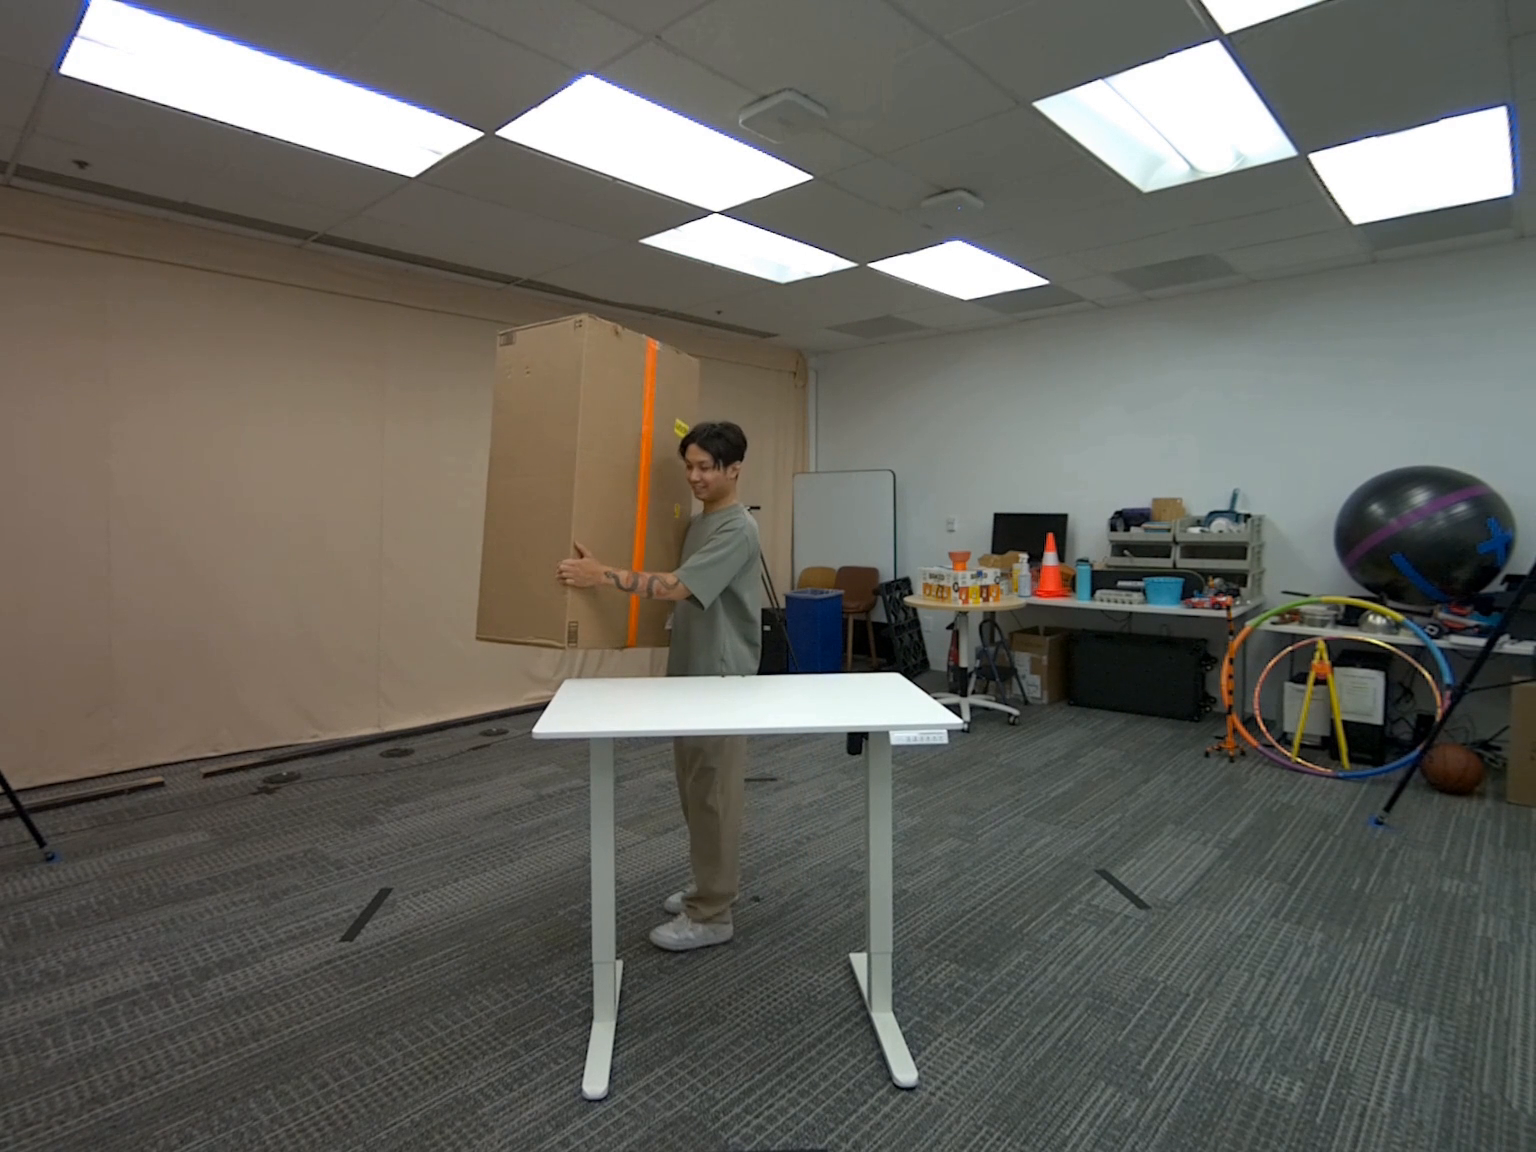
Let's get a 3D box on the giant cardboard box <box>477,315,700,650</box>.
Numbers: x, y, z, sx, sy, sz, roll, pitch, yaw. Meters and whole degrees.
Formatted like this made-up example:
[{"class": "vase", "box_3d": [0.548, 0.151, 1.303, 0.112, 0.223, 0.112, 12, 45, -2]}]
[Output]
[{"class": "giant cardboard box", "box_3d": [-0.591, -0.277, 2.868, 0.439, 1.028, 0.559, 0, -4, 34]}]
